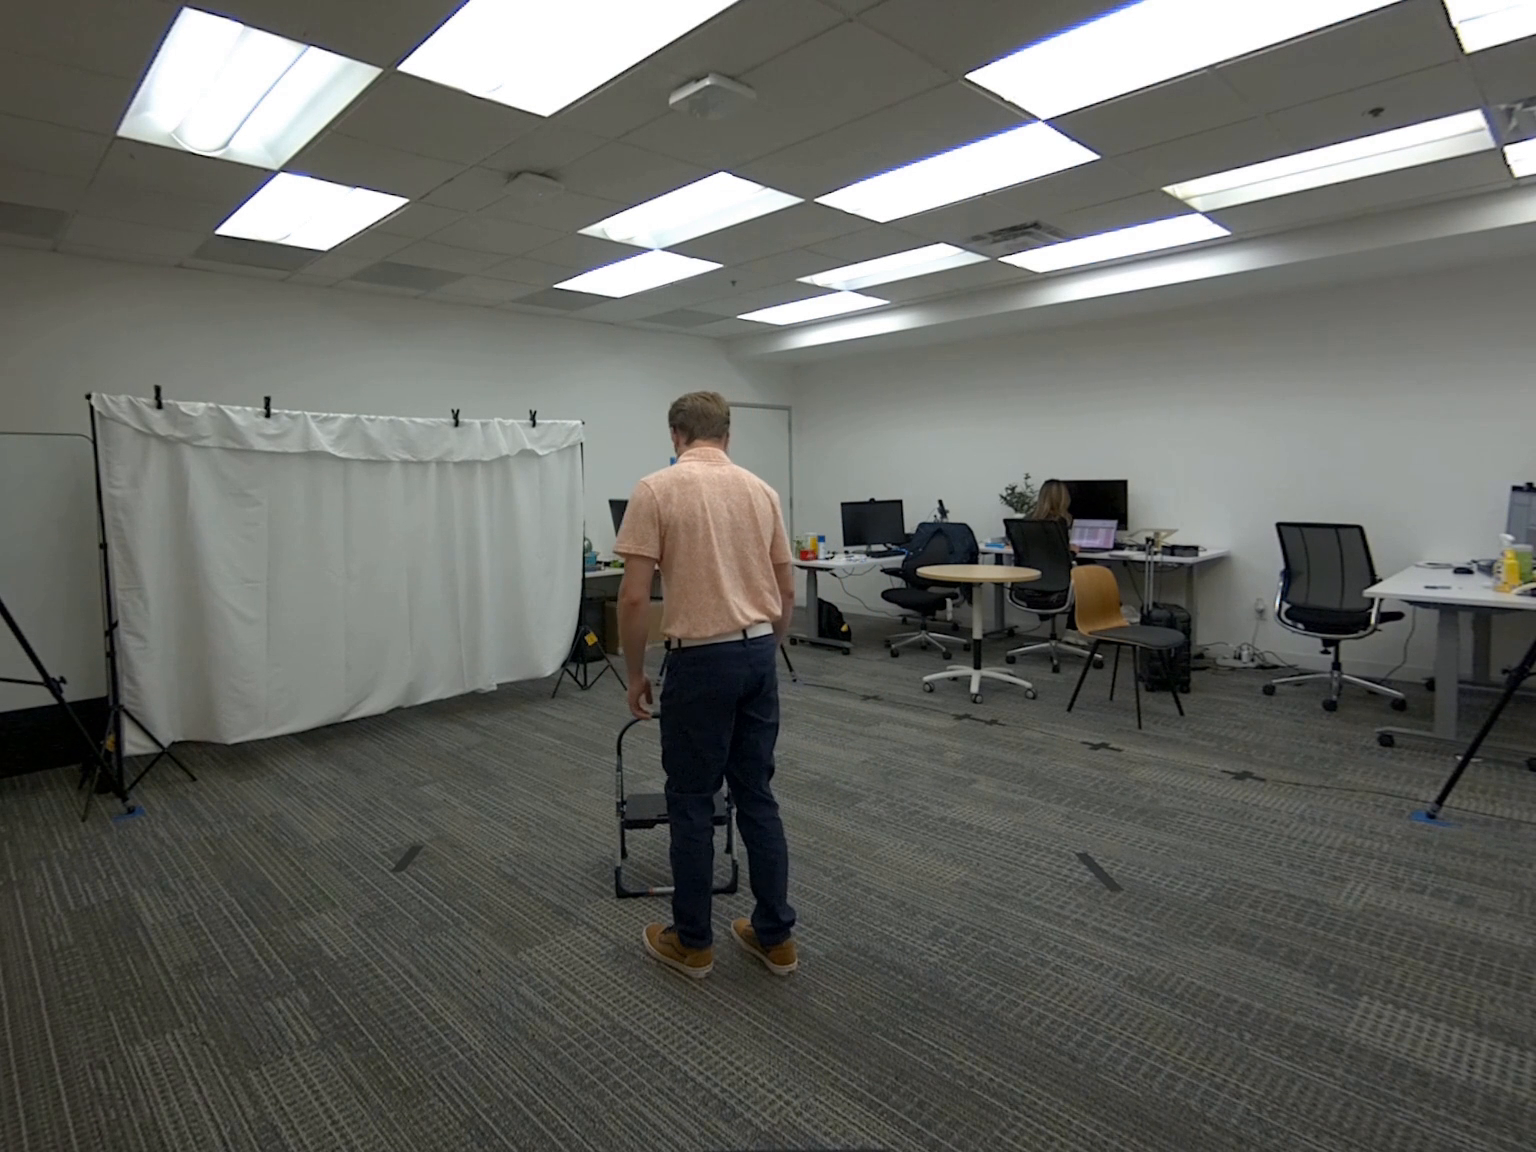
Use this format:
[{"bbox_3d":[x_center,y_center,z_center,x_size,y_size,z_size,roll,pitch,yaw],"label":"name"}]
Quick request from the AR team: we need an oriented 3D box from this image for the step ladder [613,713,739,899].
[{"bbox_3d":[-0.332,0.768,3.026,0.428,0.605,0.352,-2,2,-6],"label":"step ladder"}]
